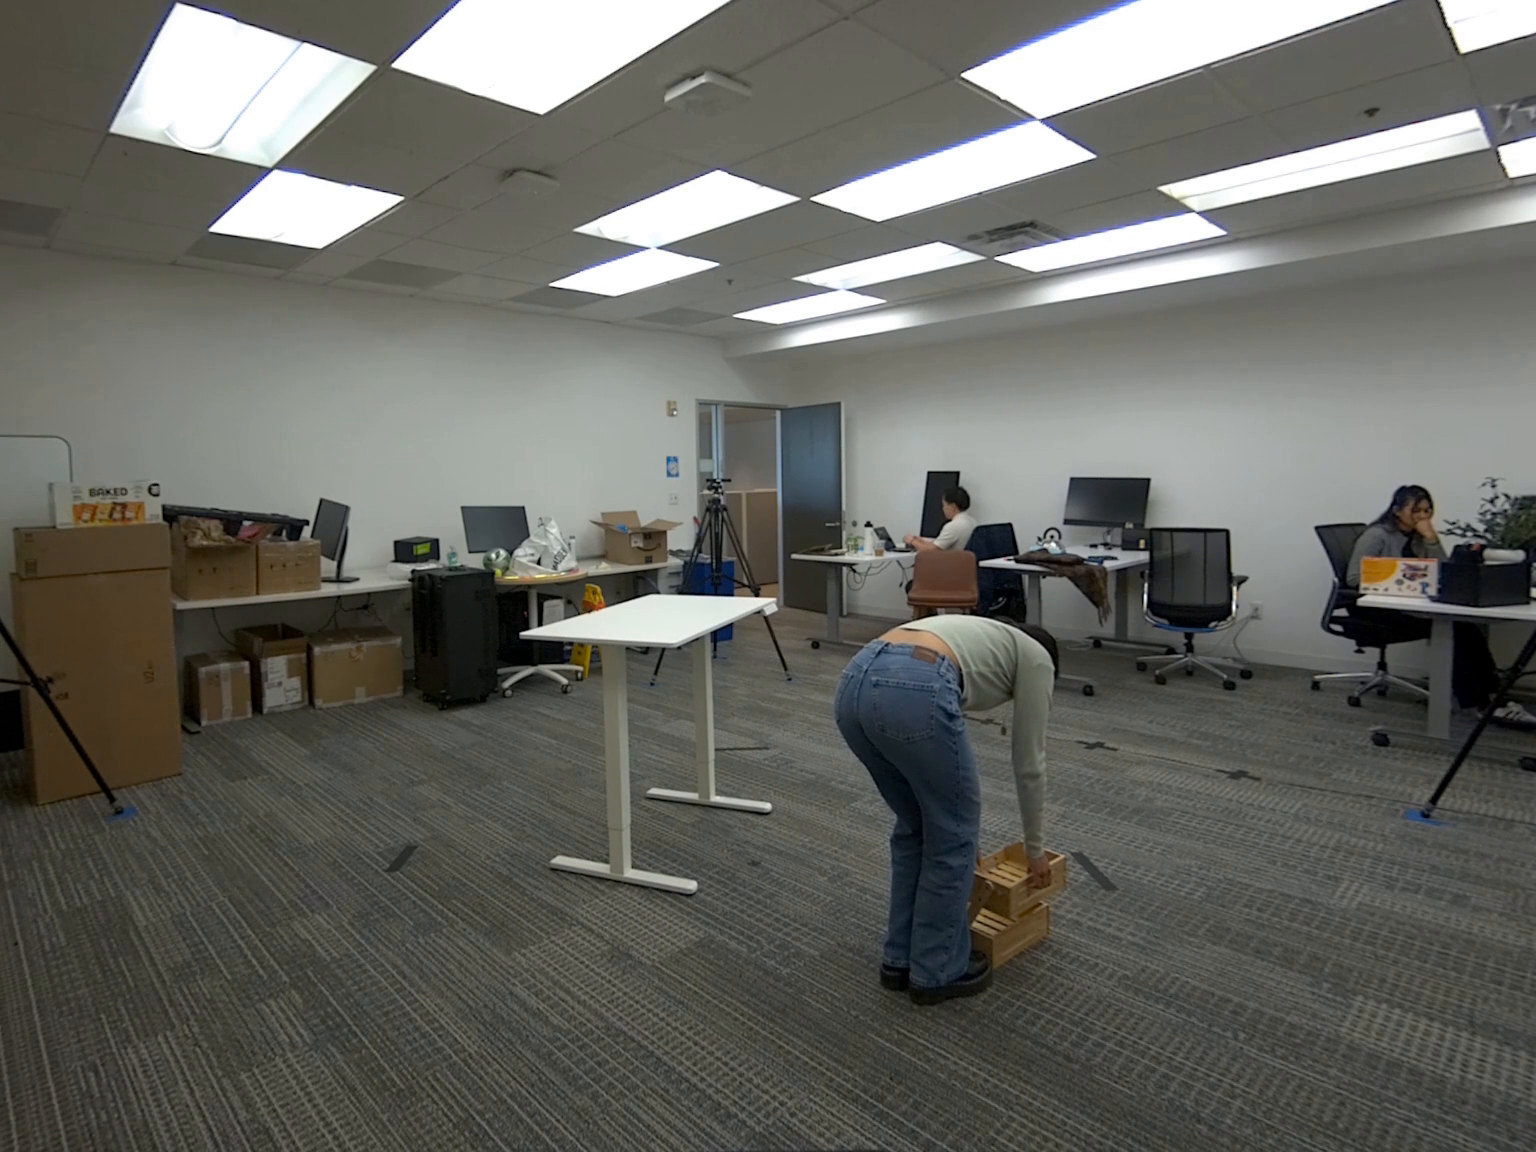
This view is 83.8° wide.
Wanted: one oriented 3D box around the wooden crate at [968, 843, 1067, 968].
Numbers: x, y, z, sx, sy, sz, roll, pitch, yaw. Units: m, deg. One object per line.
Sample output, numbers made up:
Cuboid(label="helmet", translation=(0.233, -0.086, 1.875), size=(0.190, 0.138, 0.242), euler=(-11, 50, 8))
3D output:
Cuboid(label="wooden crate", translation=(0.679, 0.954, 2.569), size=(0.316, 0.272, 0.311), euler=(-6, 8, -41))
